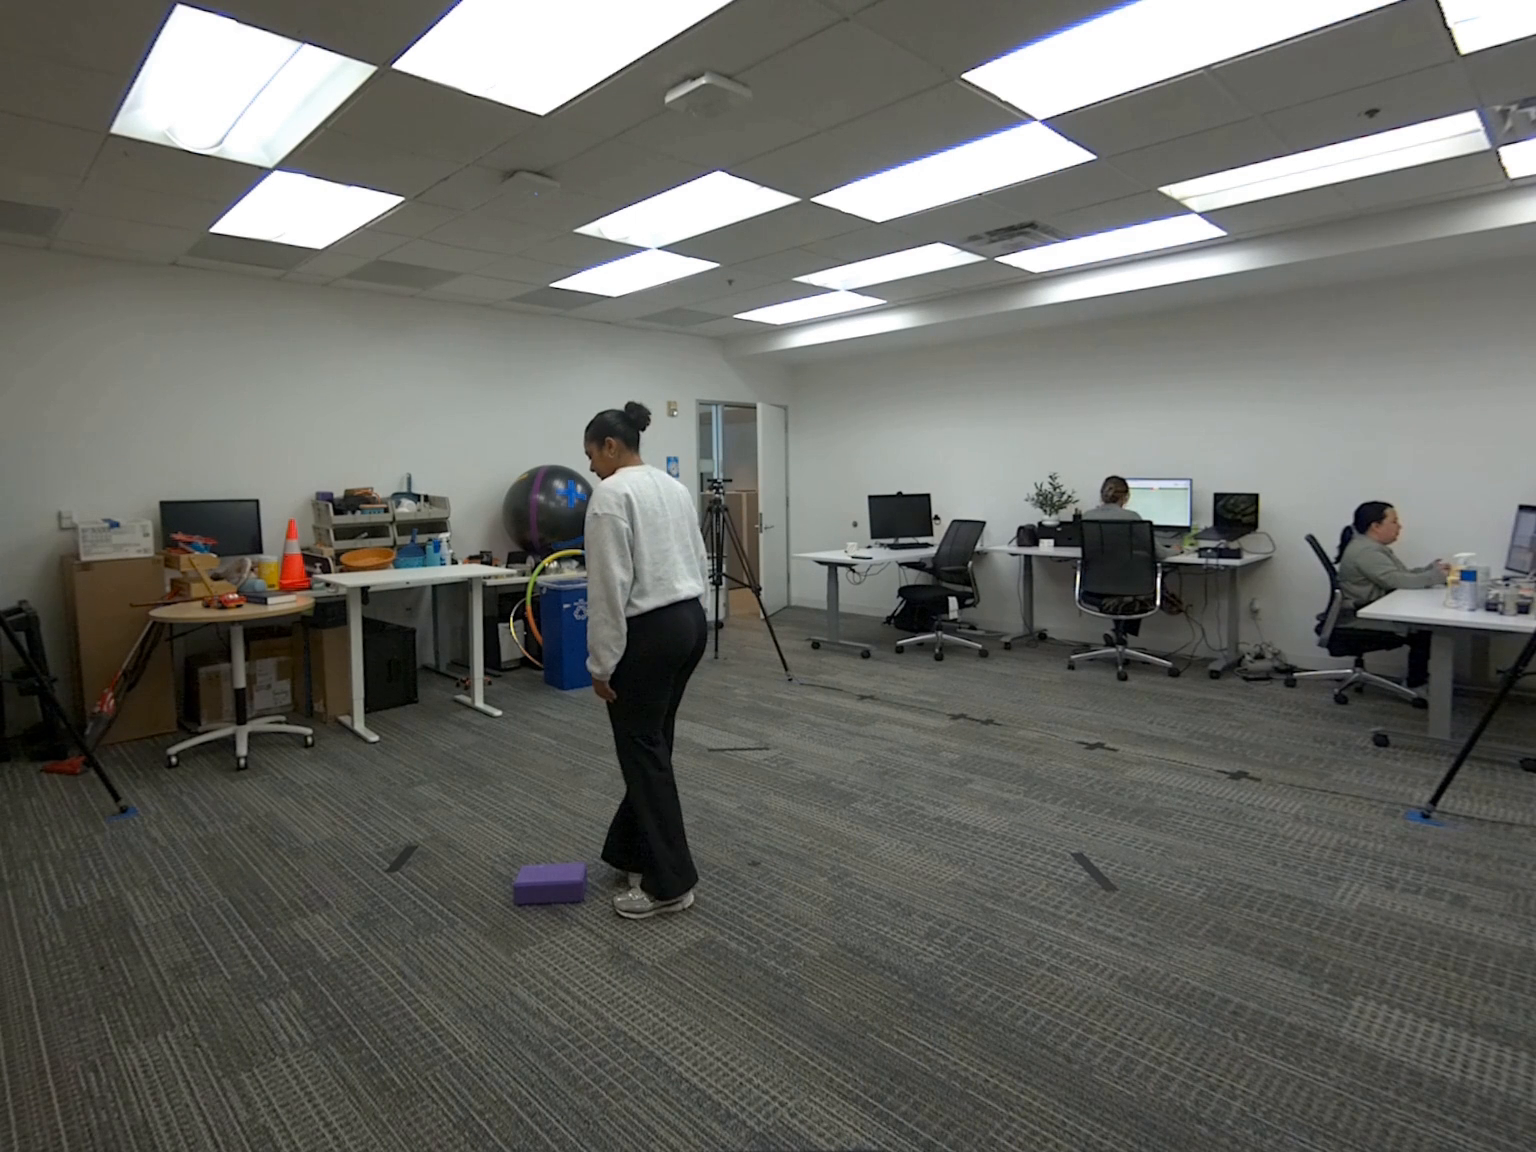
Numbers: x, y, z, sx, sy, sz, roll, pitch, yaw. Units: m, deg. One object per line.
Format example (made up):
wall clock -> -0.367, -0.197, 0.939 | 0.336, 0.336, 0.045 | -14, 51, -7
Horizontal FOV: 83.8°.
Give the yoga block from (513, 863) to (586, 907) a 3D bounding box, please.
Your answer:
yoga block -> -0.732, 1.042, 2.903 | 0.228, 0.076, 0.150 | -2, 6, -4
